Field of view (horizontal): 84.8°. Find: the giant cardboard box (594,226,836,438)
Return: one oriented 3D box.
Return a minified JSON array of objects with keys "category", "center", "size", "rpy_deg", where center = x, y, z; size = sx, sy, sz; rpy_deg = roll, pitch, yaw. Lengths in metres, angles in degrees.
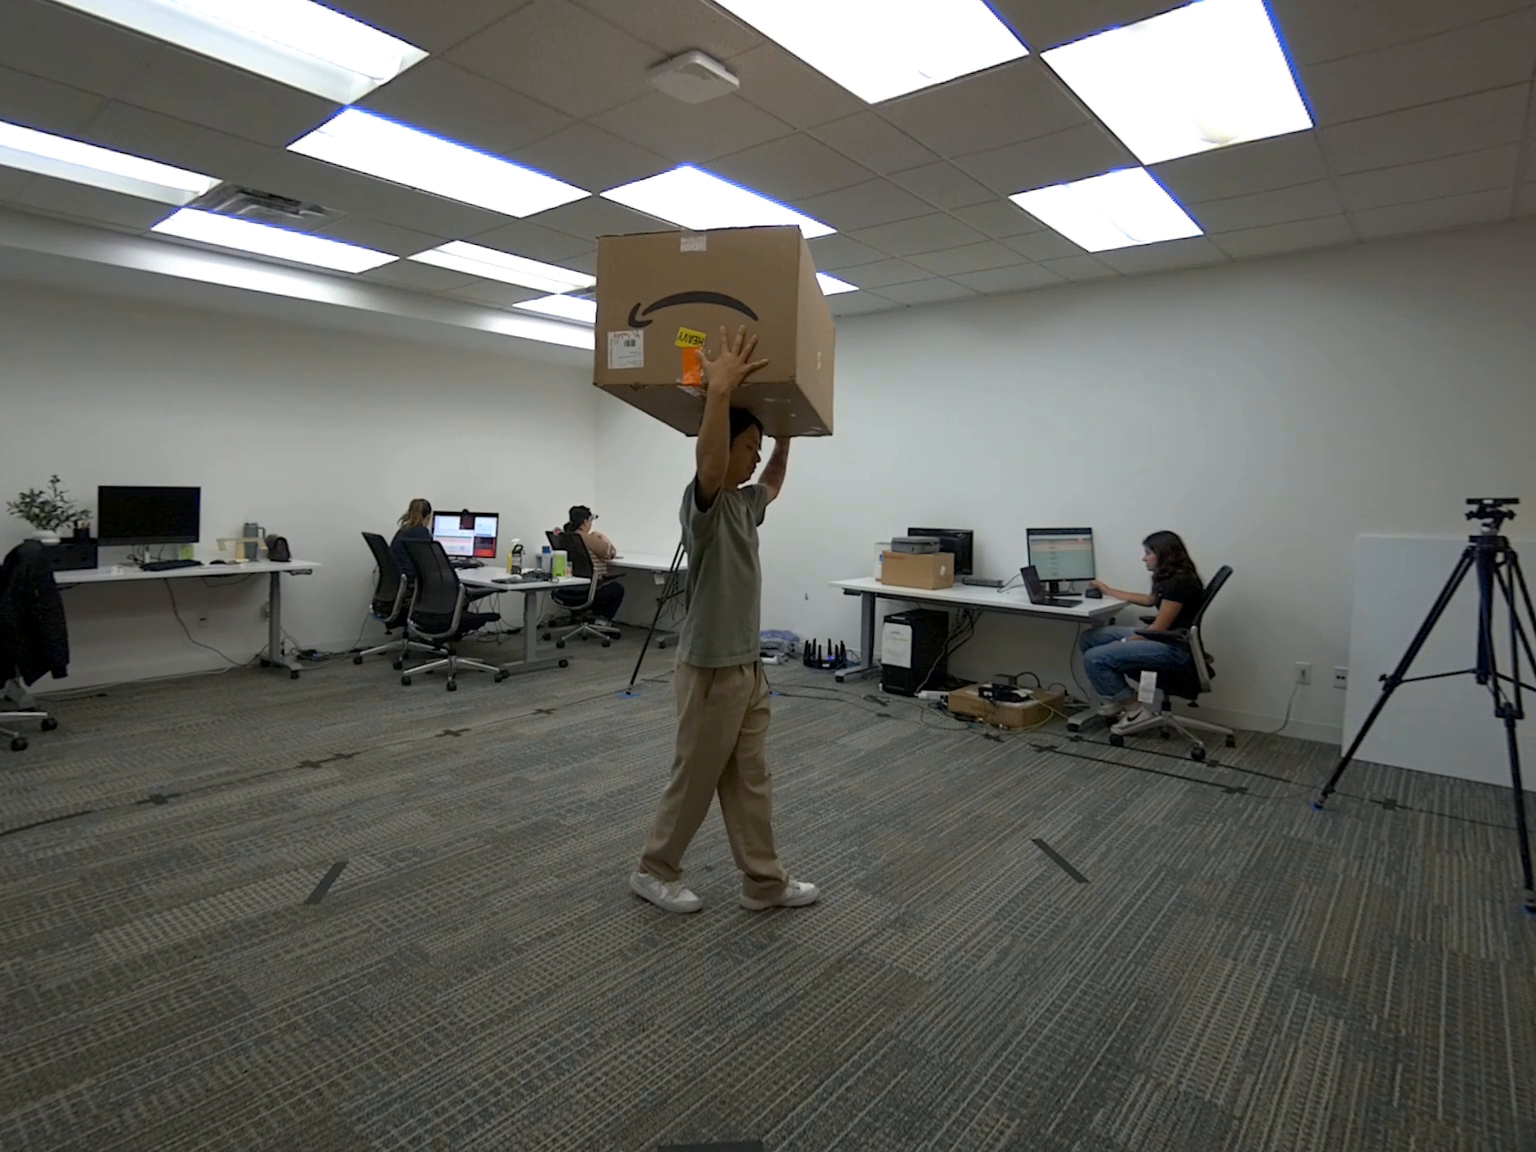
[{"category":"giant cardboard box","center":[-0.125,-0.739,2.796],"size":[0.585,0.426,1.012],"rpy_deg":[2,1,11]}]
